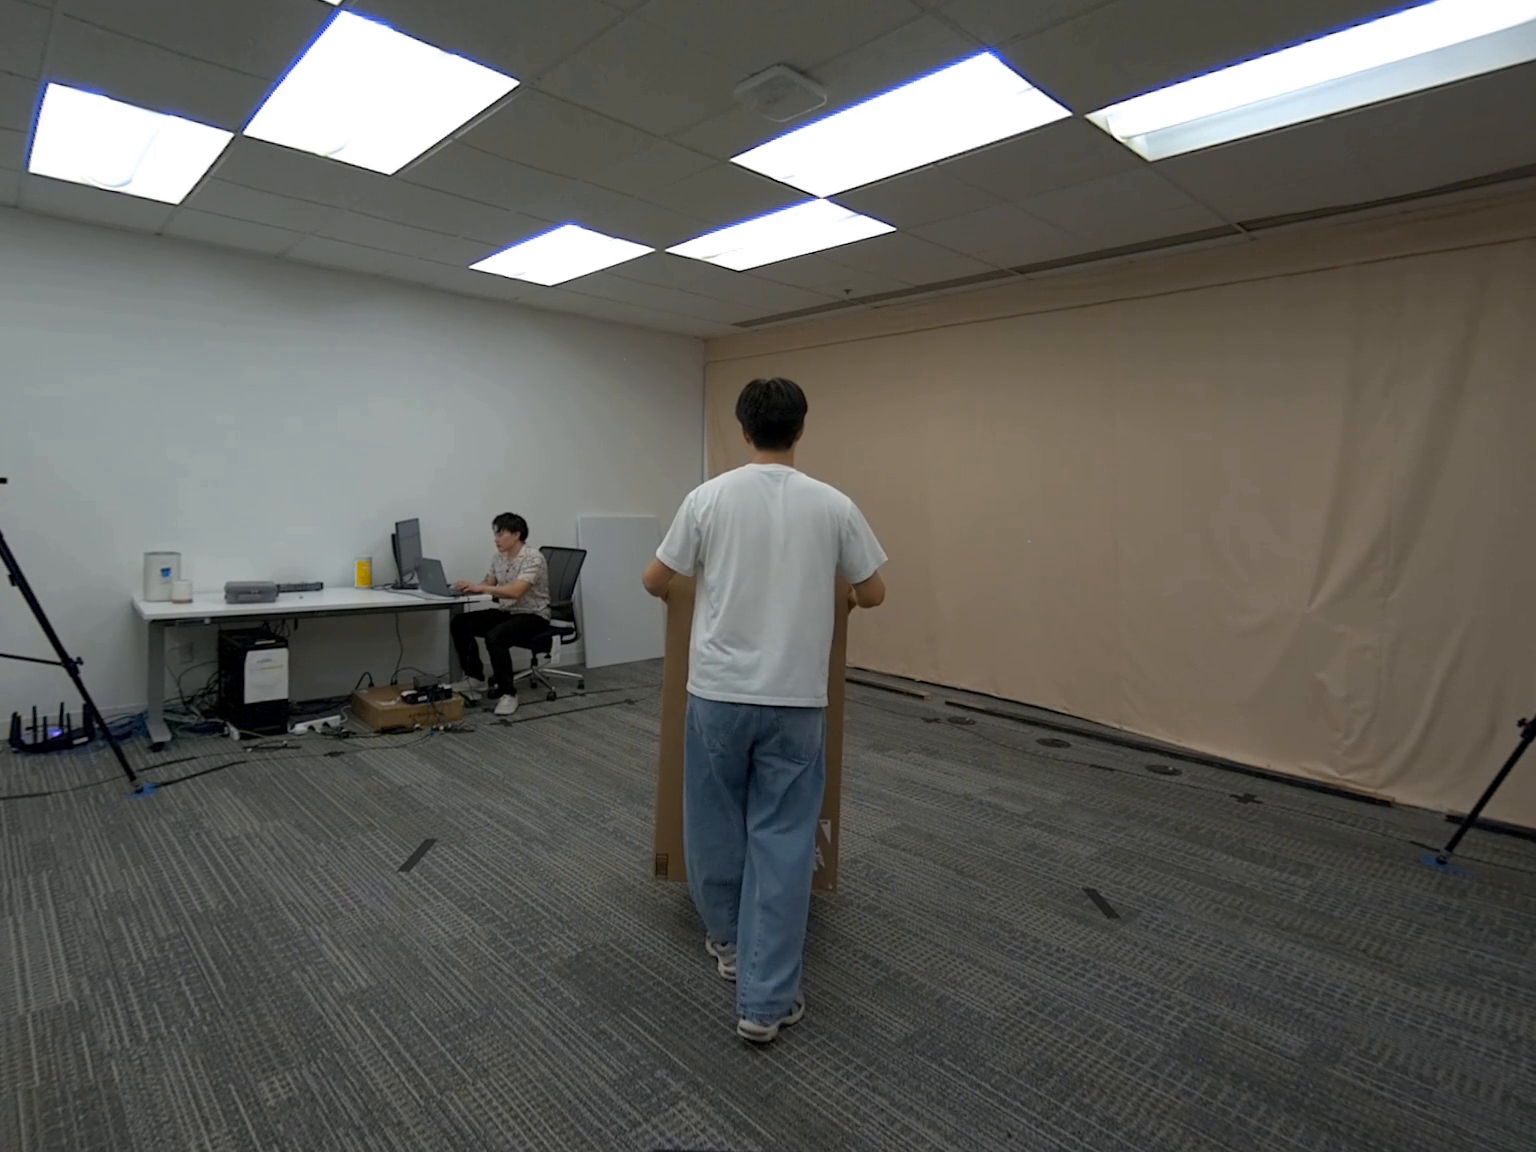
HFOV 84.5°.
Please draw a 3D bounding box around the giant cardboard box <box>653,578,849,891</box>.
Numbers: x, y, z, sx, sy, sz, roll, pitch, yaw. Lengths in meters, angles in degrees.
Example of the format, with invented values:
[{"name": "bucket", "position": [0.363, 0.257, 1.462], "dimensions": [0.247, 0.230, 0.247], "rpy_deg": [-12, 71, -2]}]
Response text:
[{"name": "giant cardboard box", "position": [-0.059, 0.462, 2.843], "dimensions": [0.578, 1.027, 0.425], "rpy_deg": [3, -1, 1]}]
